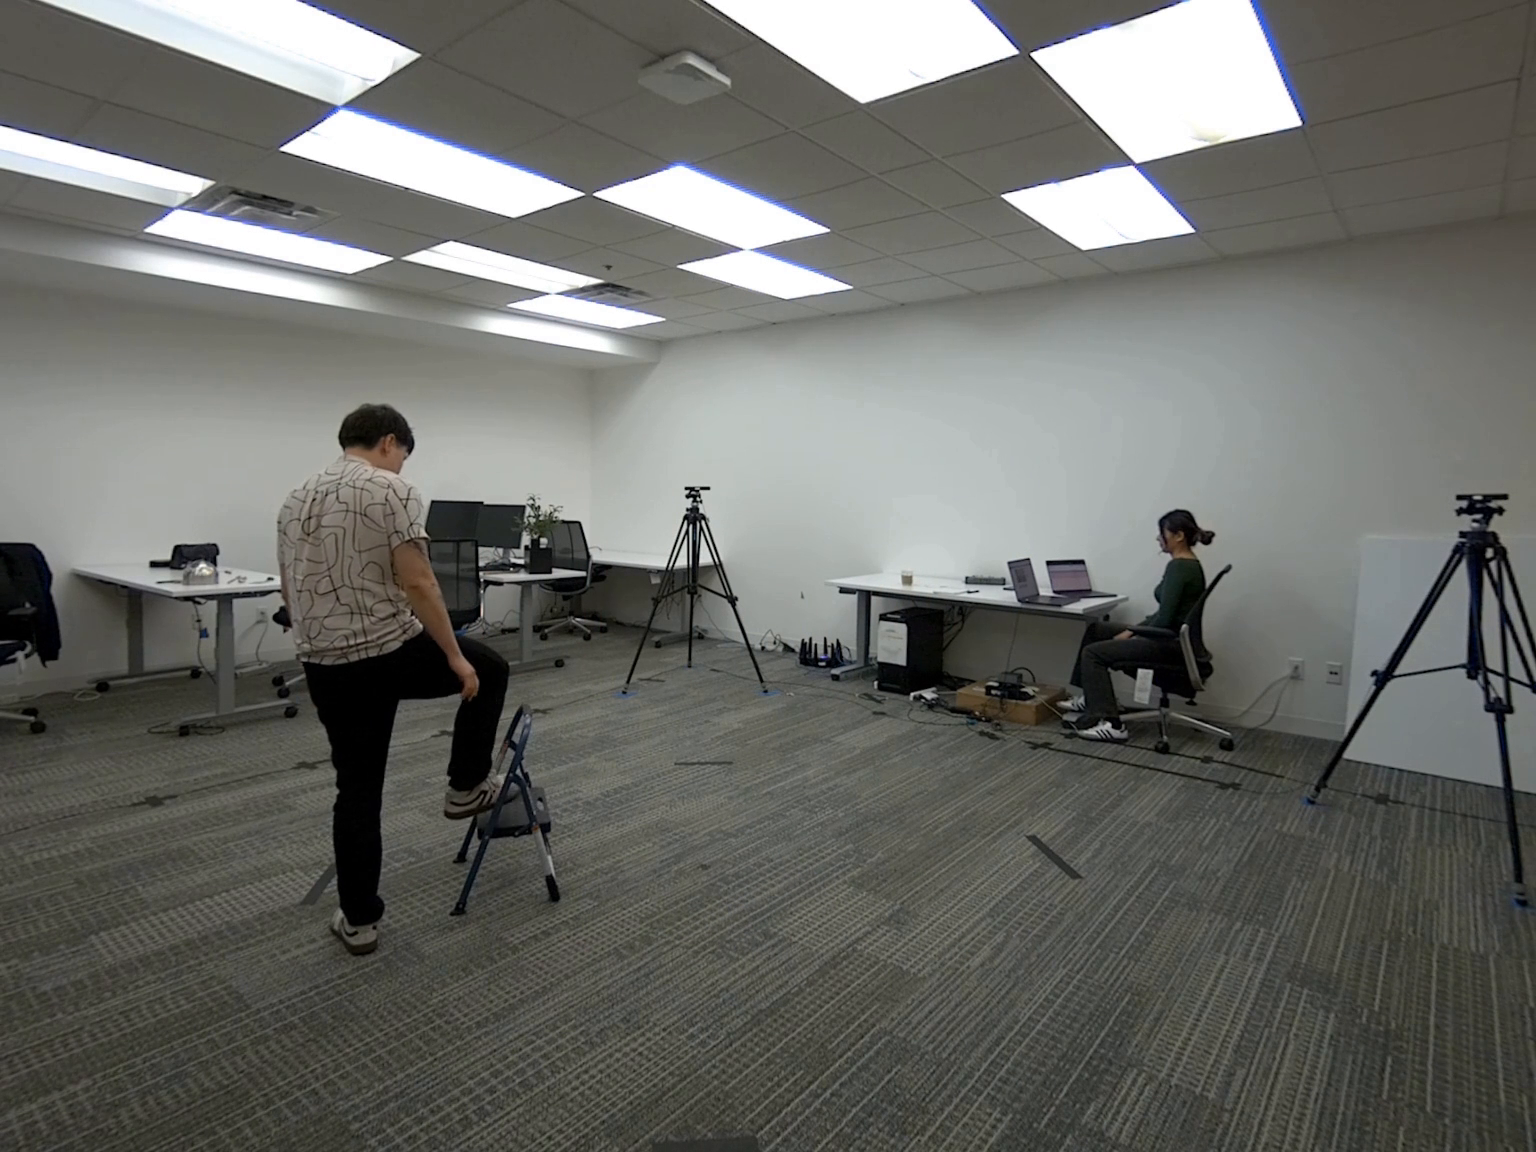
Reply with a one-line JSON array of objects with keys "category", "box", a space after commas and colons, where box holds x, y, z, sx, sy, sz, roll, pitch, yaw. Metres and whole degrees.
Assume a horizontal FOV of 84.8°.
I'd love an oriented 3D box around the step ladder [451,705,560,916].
[{"category": "step ladder", "box": [-0.935, 0.770, 2.973, 0.343, 0.604, 0.440, -1, 4, -18]}]
